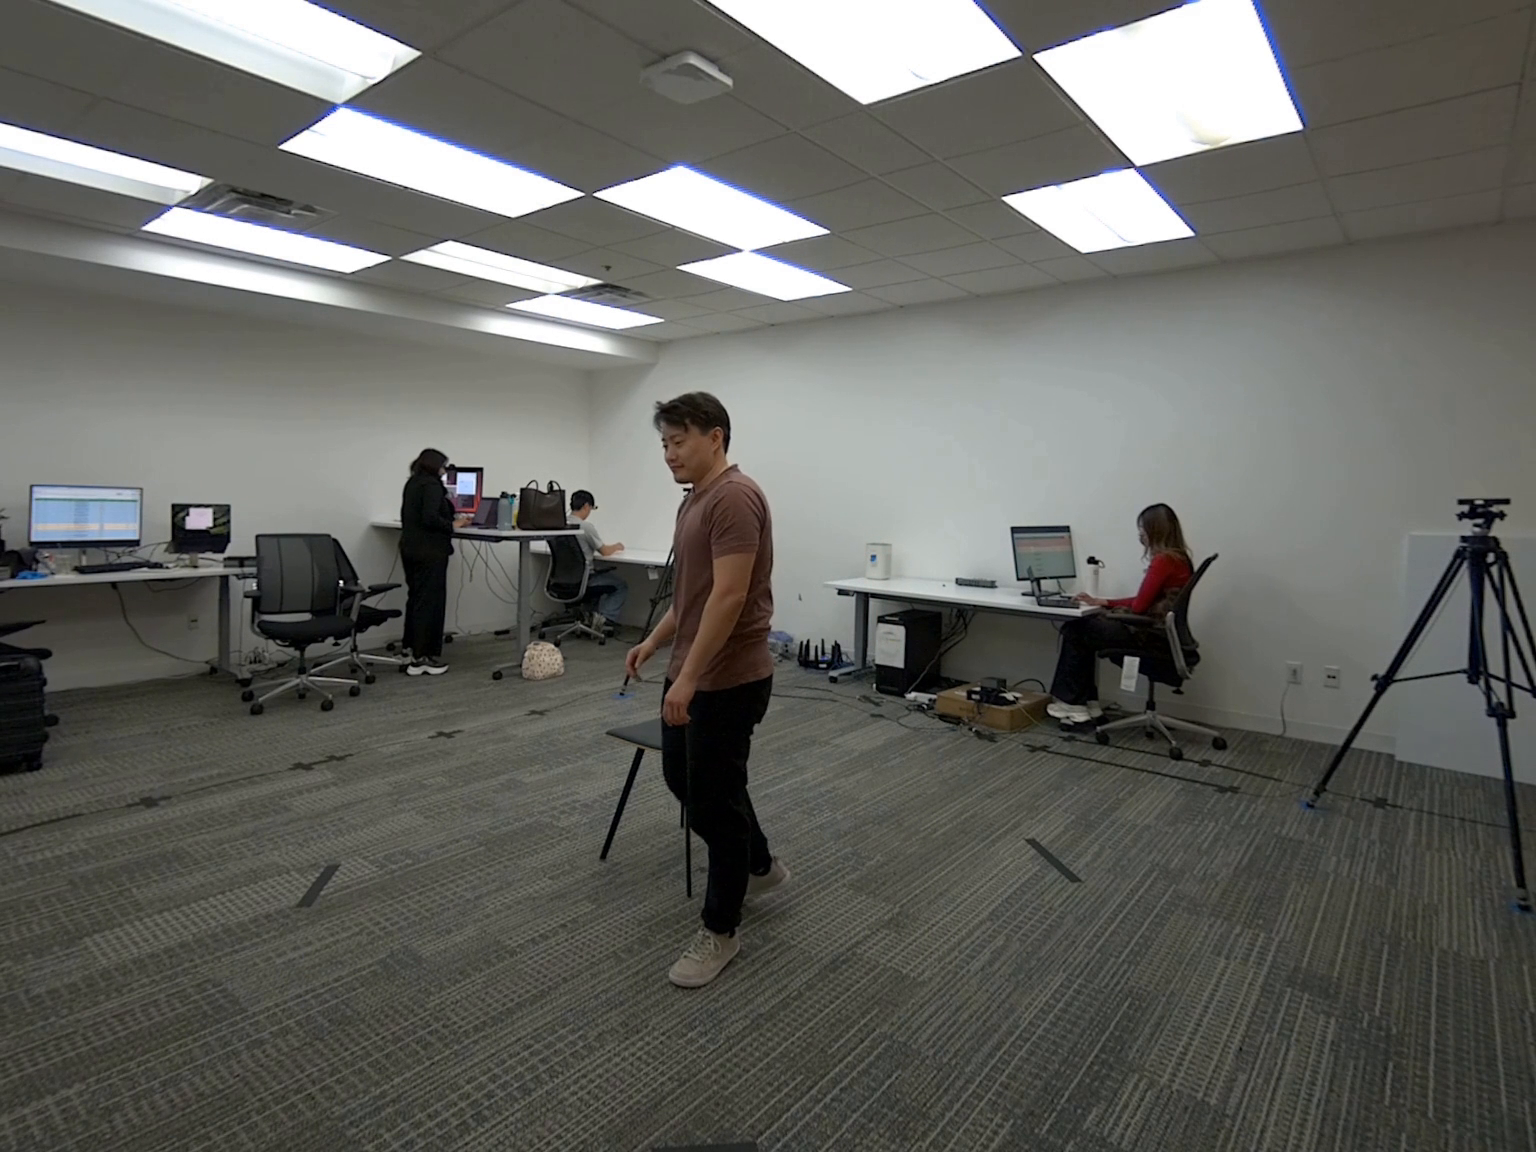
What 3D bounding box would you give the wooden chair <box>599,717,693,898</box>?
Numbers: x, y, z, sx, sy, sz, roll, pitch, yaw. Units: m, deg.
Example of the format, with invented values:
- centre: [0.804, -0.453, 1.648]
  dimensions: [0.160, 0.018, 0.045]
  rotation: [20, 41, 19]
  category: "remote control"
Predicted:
- centre: [-0.318, 0.633, 3.178]
  dimensions: [0.542, 0.873, 0.464]
  rotation: [9, 7, 38]
  category: "wooden chair"
